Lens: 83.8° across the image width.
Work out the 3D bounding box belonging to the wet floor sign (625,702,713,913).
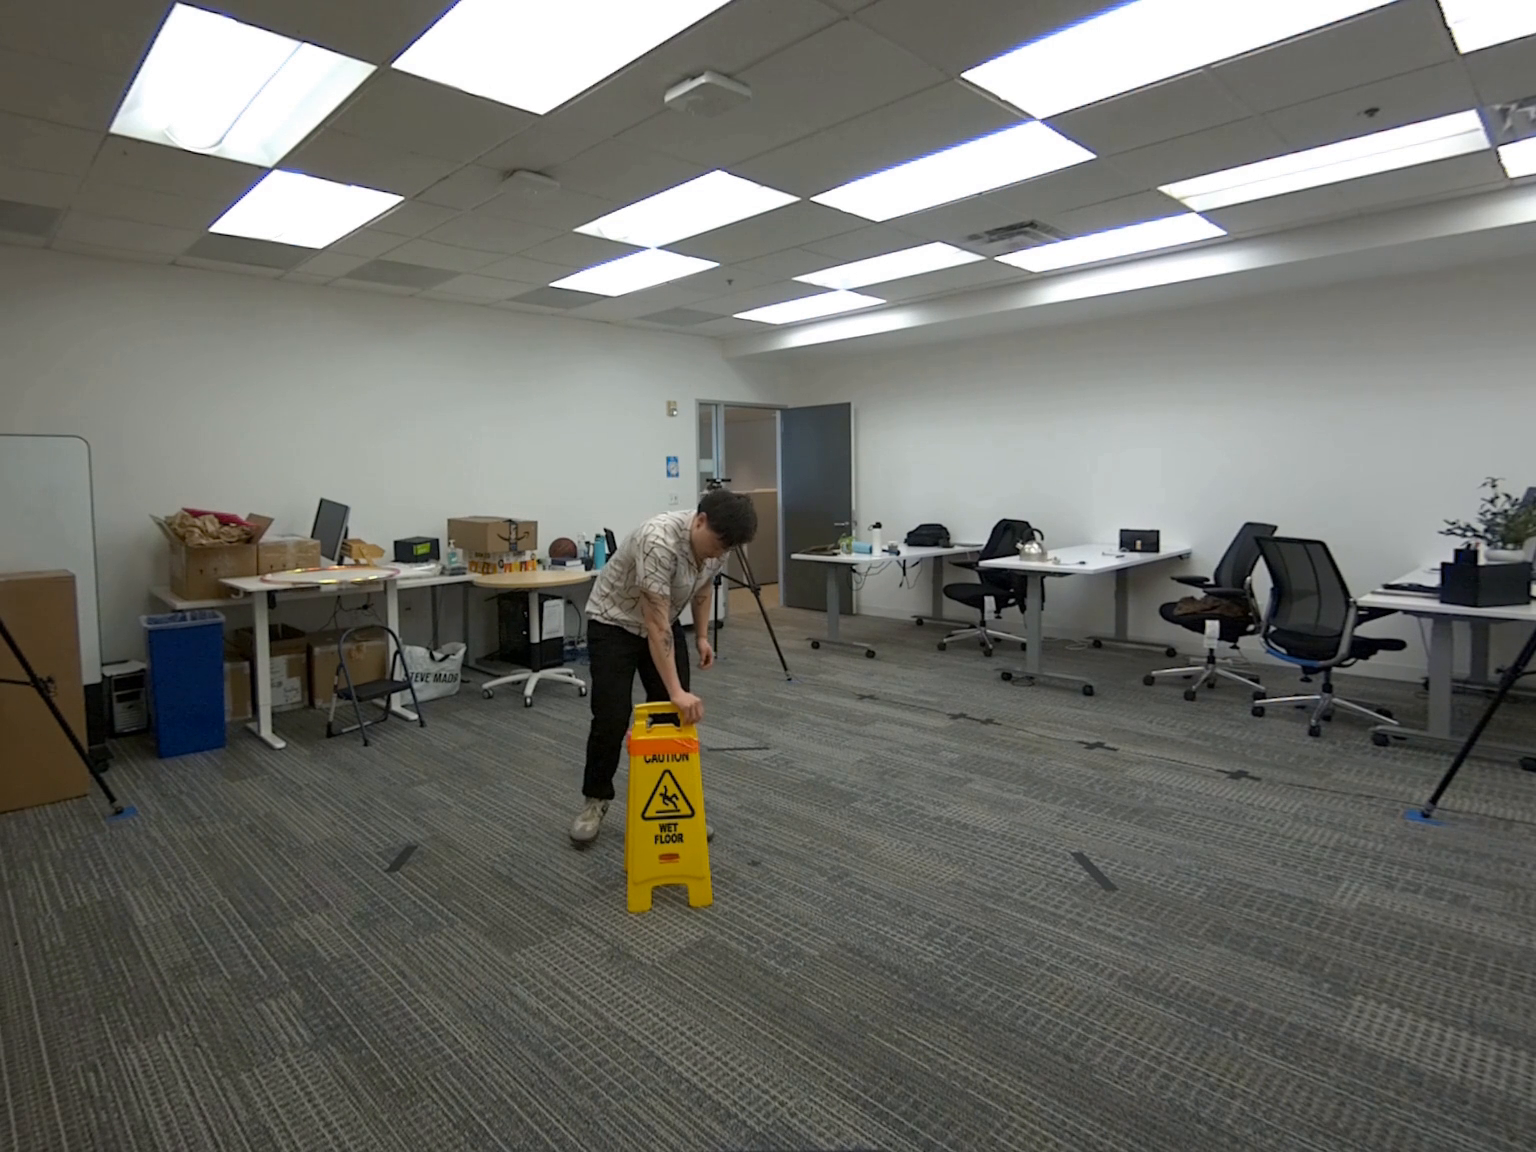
[{"bbox_3d":[-0.352,0.746,2.917,0.280,0.644,0.293,-3,4,-10],"label":"wet floor sign"}]
